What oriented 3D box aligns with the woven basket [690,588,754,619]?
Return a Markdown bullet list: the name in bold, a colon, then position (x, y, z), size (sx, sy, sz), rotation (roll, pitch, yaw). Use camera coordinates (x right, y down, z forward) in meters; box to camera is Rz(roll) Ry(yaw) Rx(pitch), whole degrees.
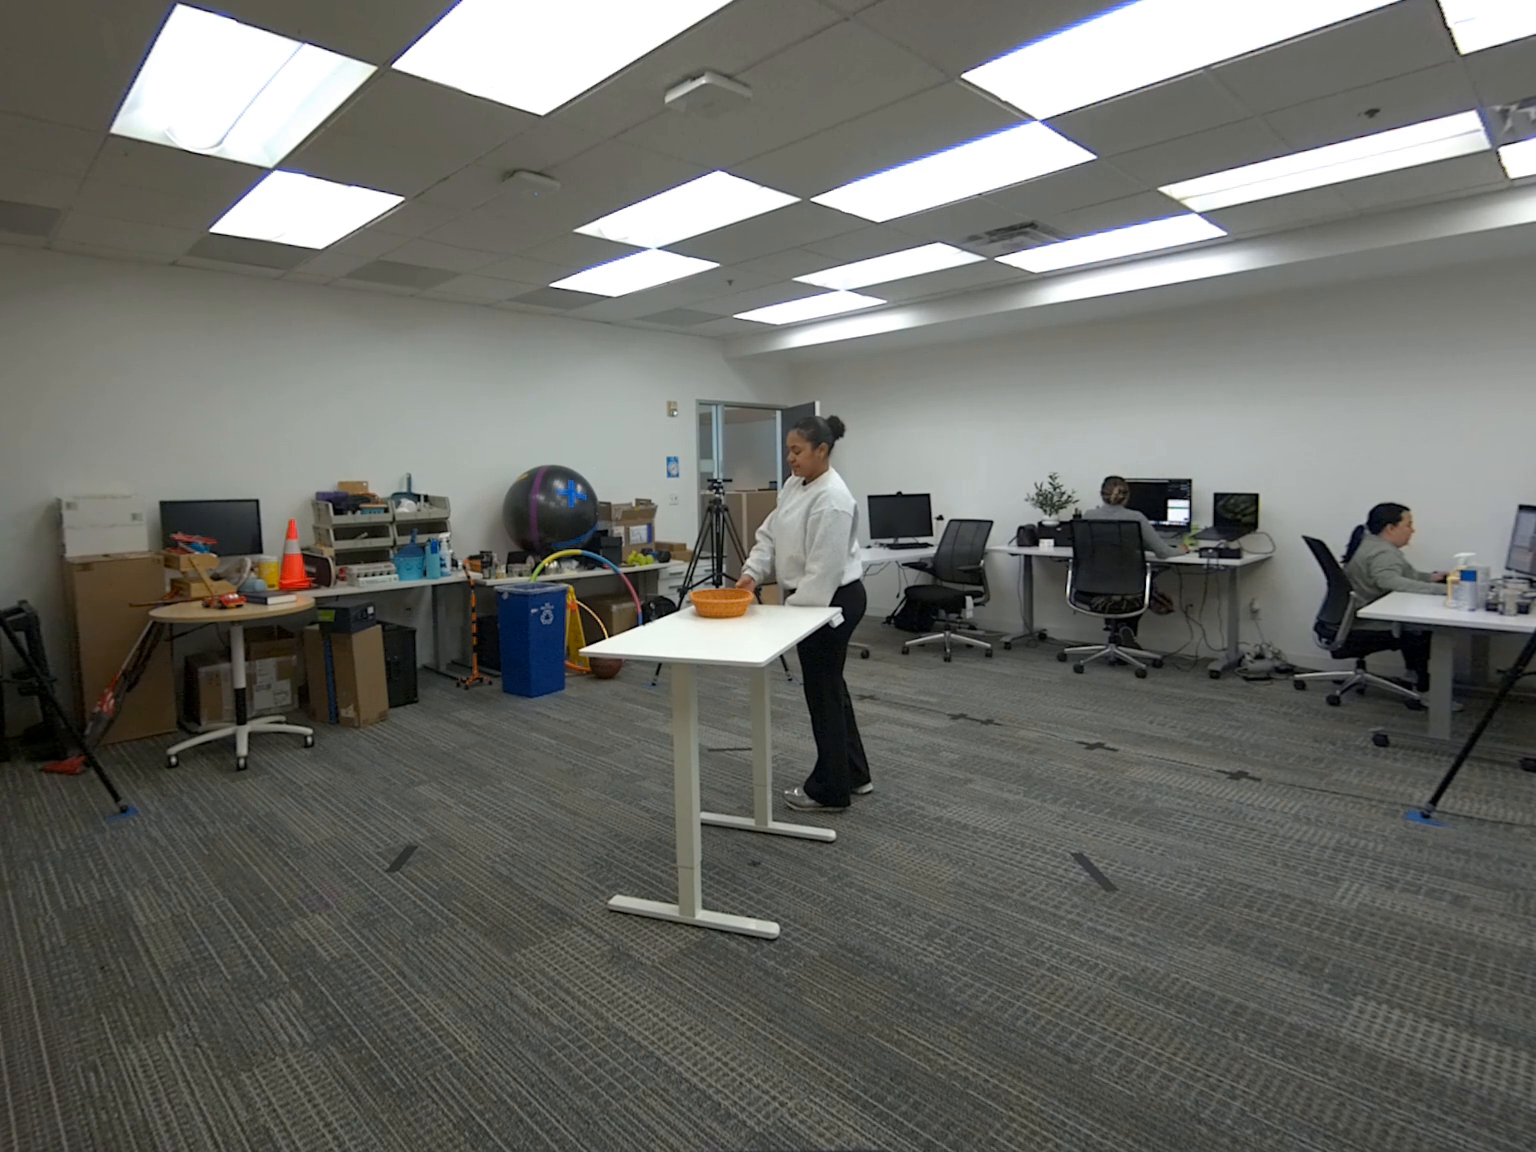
- **woven basket**: position (-0.164, 0.105, 3.315), size (0.253, 0.073, 0.351), rotation (0, 6, 1)
